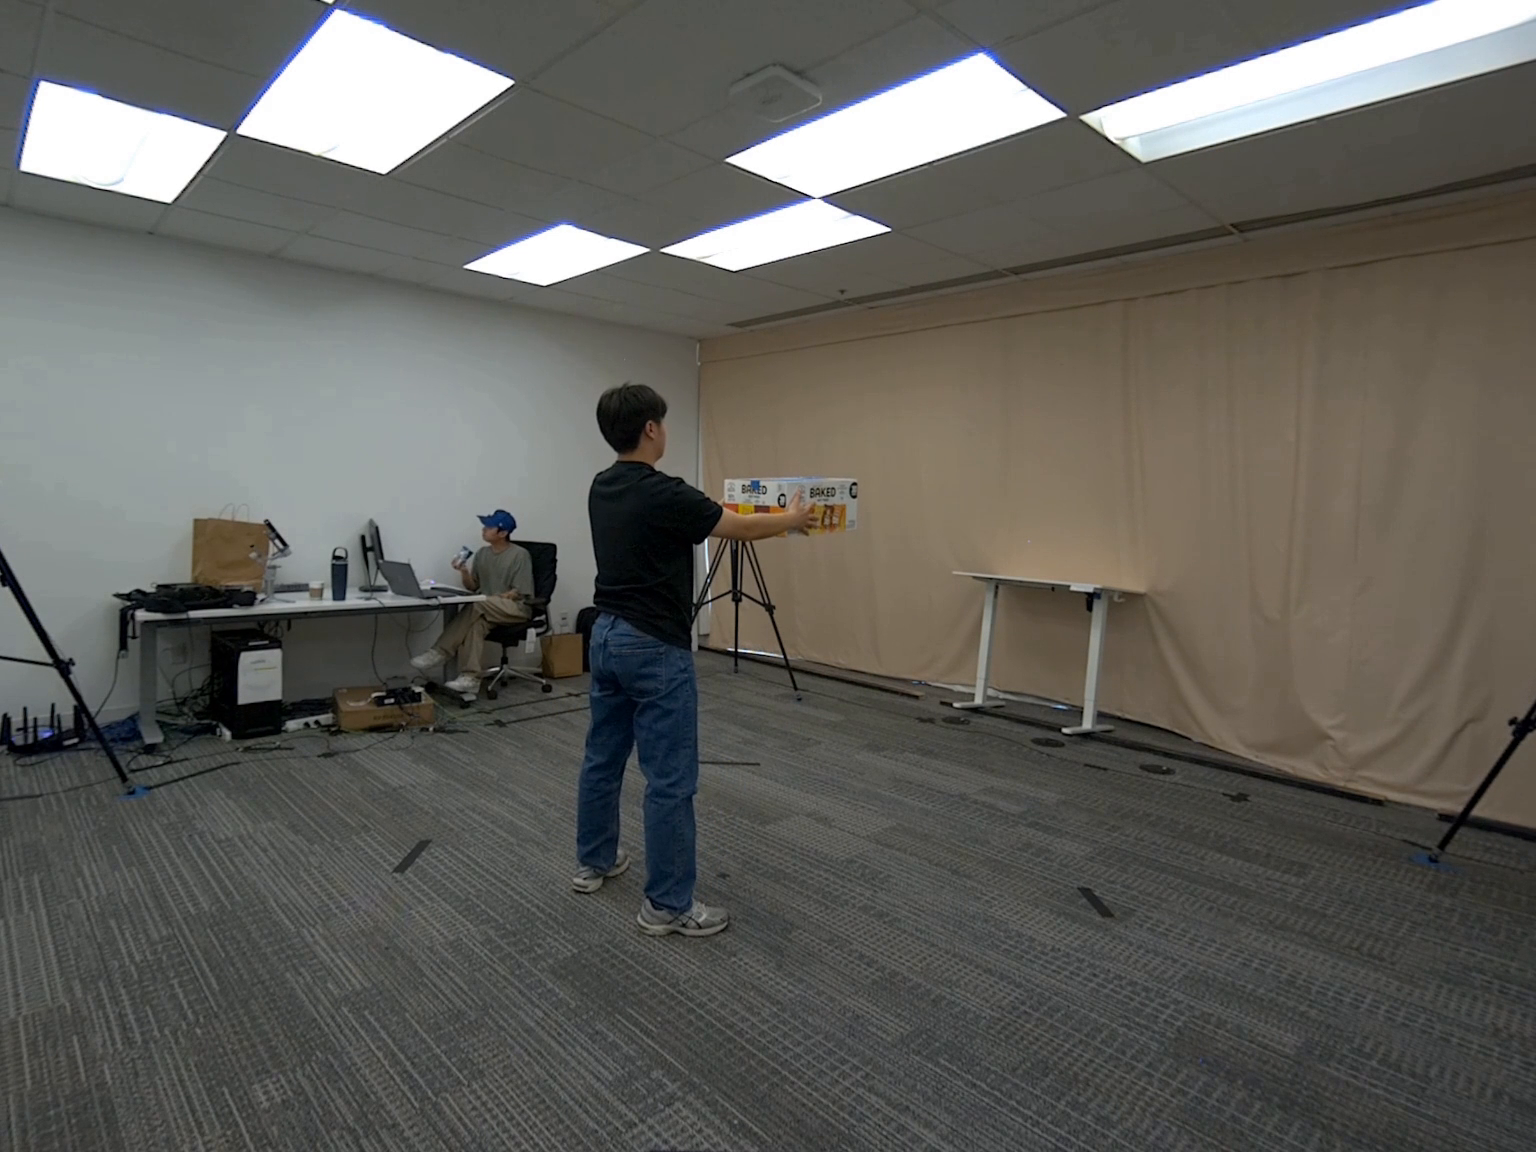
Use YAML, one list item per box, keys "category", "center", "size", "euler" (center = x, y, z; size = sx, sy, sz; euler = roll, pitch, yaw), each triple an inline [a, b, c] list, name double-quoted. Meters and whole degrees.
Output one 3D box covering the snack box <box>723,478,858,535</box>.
- category: "snack box"
  center: [0.086, -0.277, 3.294]
  size: [0.396, 0.204, 0.349]
  euler: [-7, 11, -44]
